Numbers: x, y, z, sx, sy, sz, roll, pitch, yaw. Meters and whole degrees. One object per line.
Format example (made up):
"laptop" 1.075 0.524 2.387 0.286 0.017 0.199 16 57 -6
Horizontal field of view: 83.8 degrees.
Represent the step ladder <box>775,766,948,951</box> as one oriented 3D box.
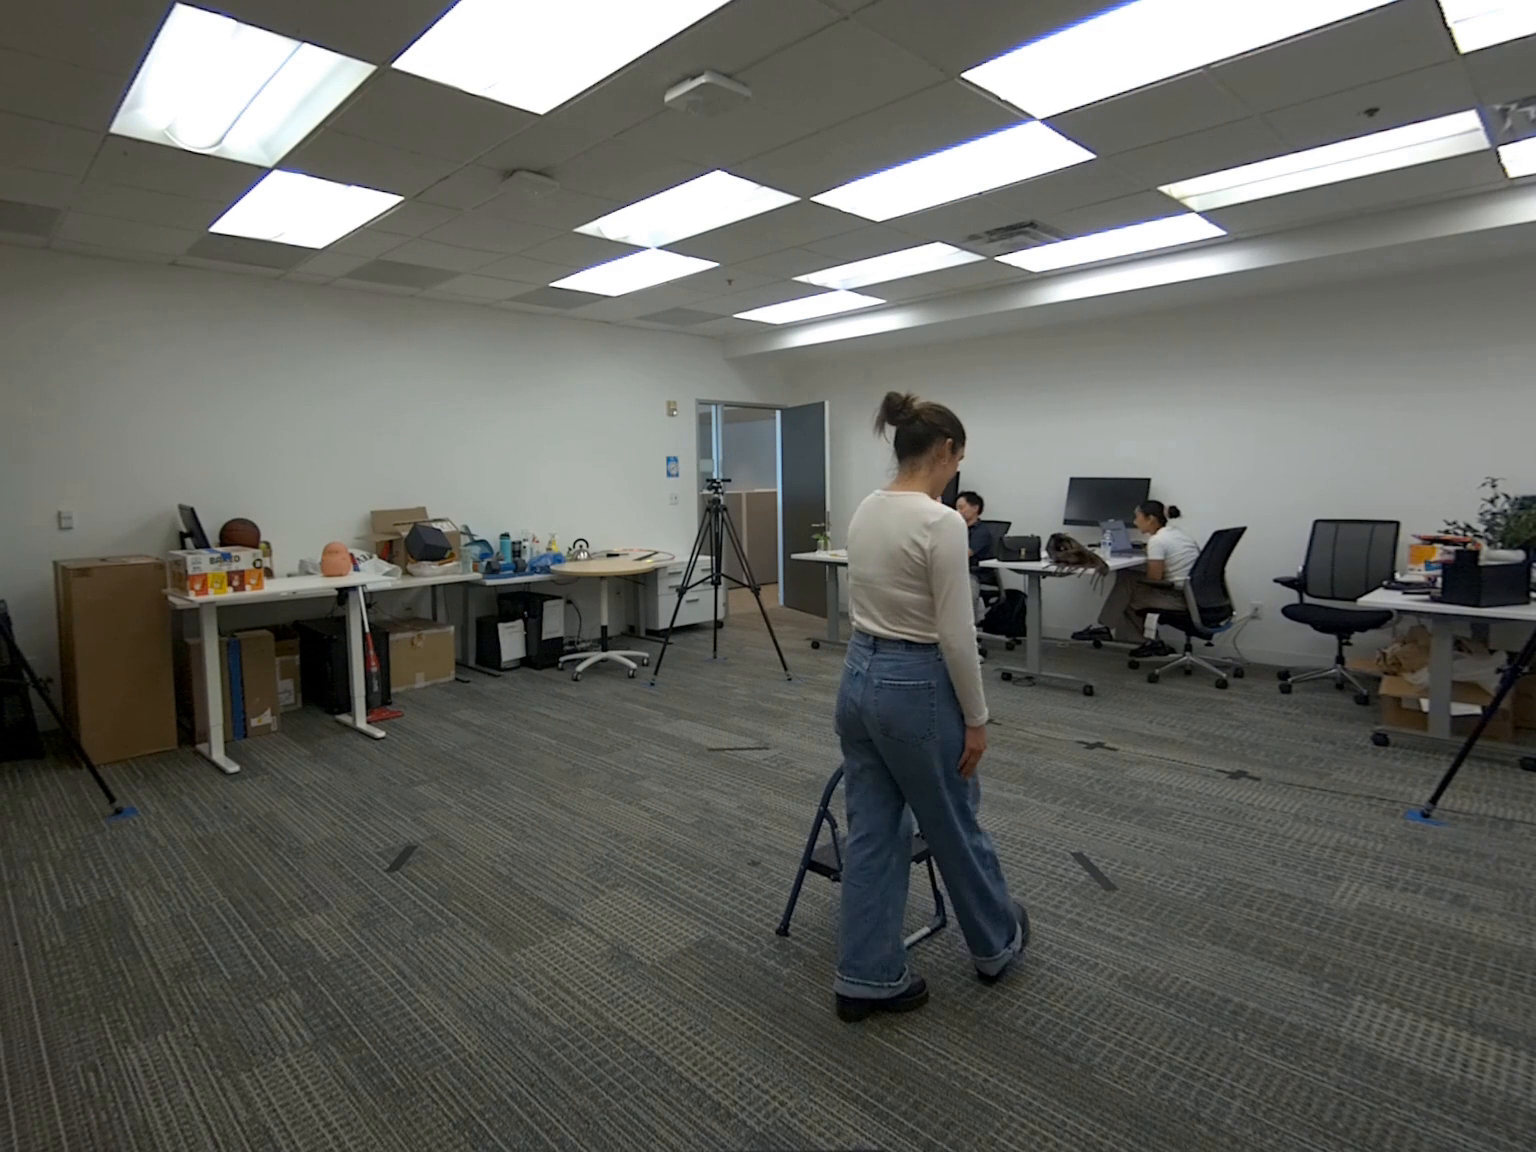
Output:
"step ladder" 0.294 0.796 2.625 0.360 0.604 0.419 3 6 45
